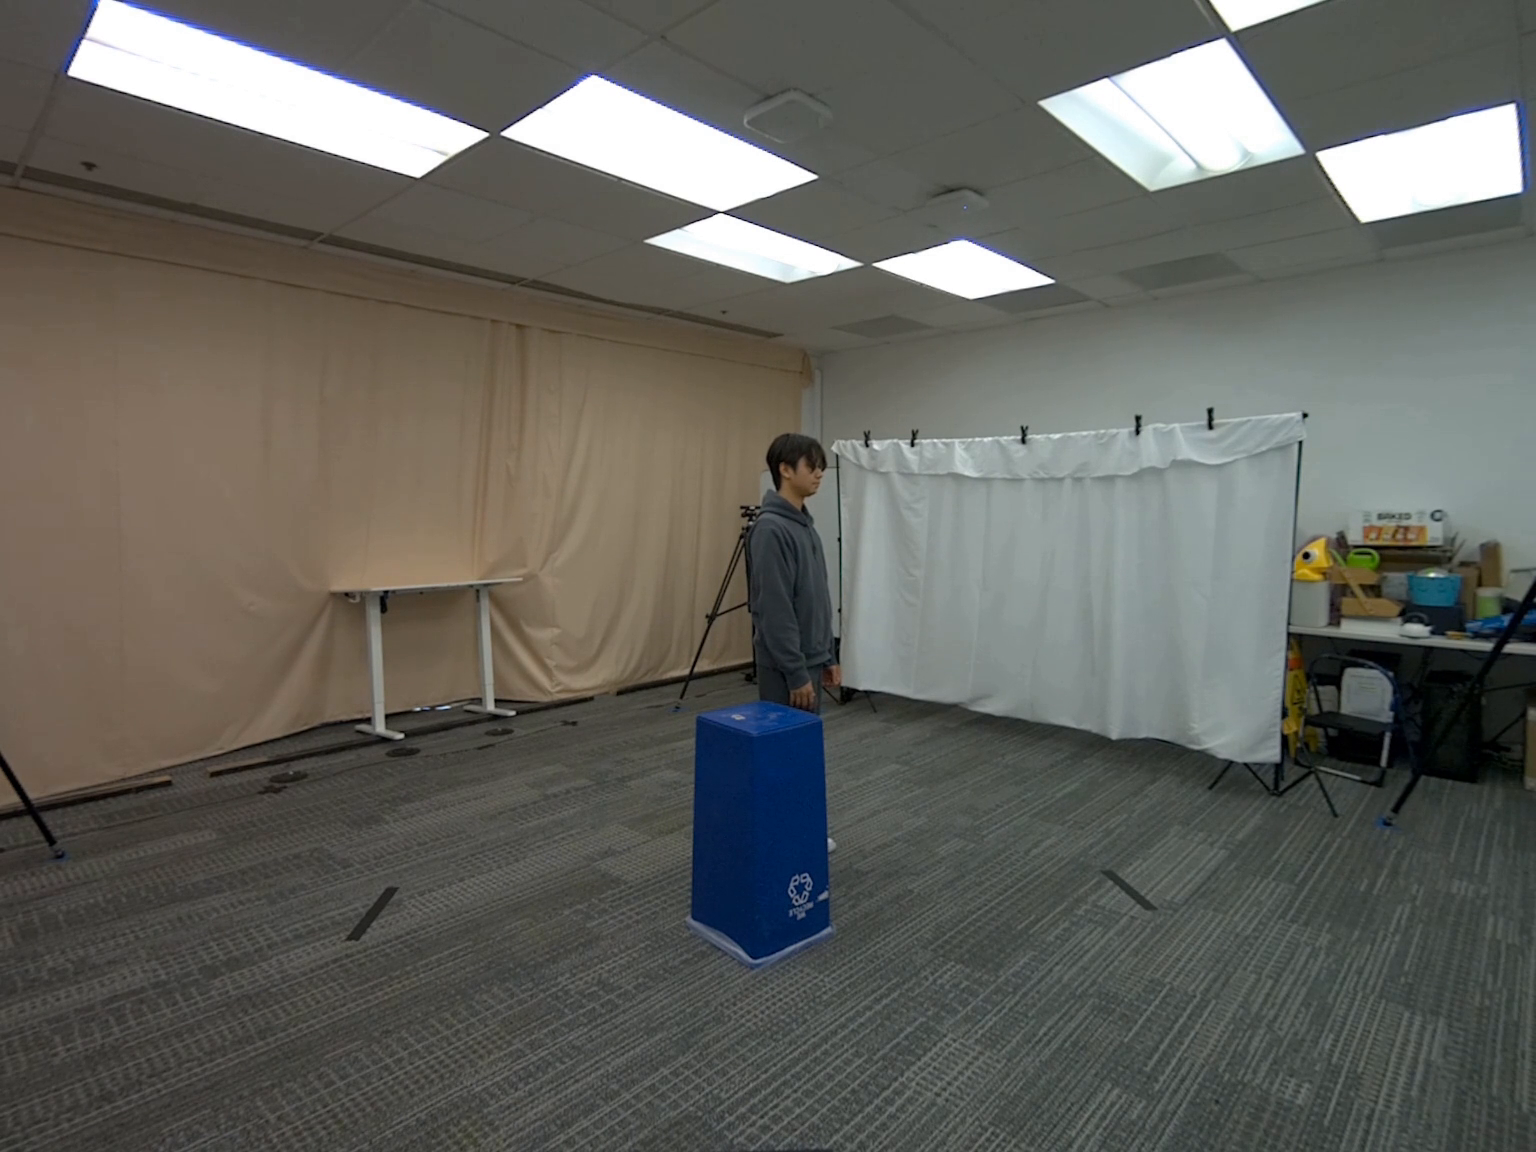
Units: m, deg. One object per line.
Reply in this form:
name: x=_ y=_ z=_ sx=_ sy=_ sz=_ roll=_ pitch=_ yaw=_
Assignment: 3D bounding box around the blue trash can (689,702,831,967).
blue trash can: x=-0.034 y=0.808 z=2.754 sx=0.363 sy=0.712 sz=0.390 roll=-4 pitch=4 yaw=-40
